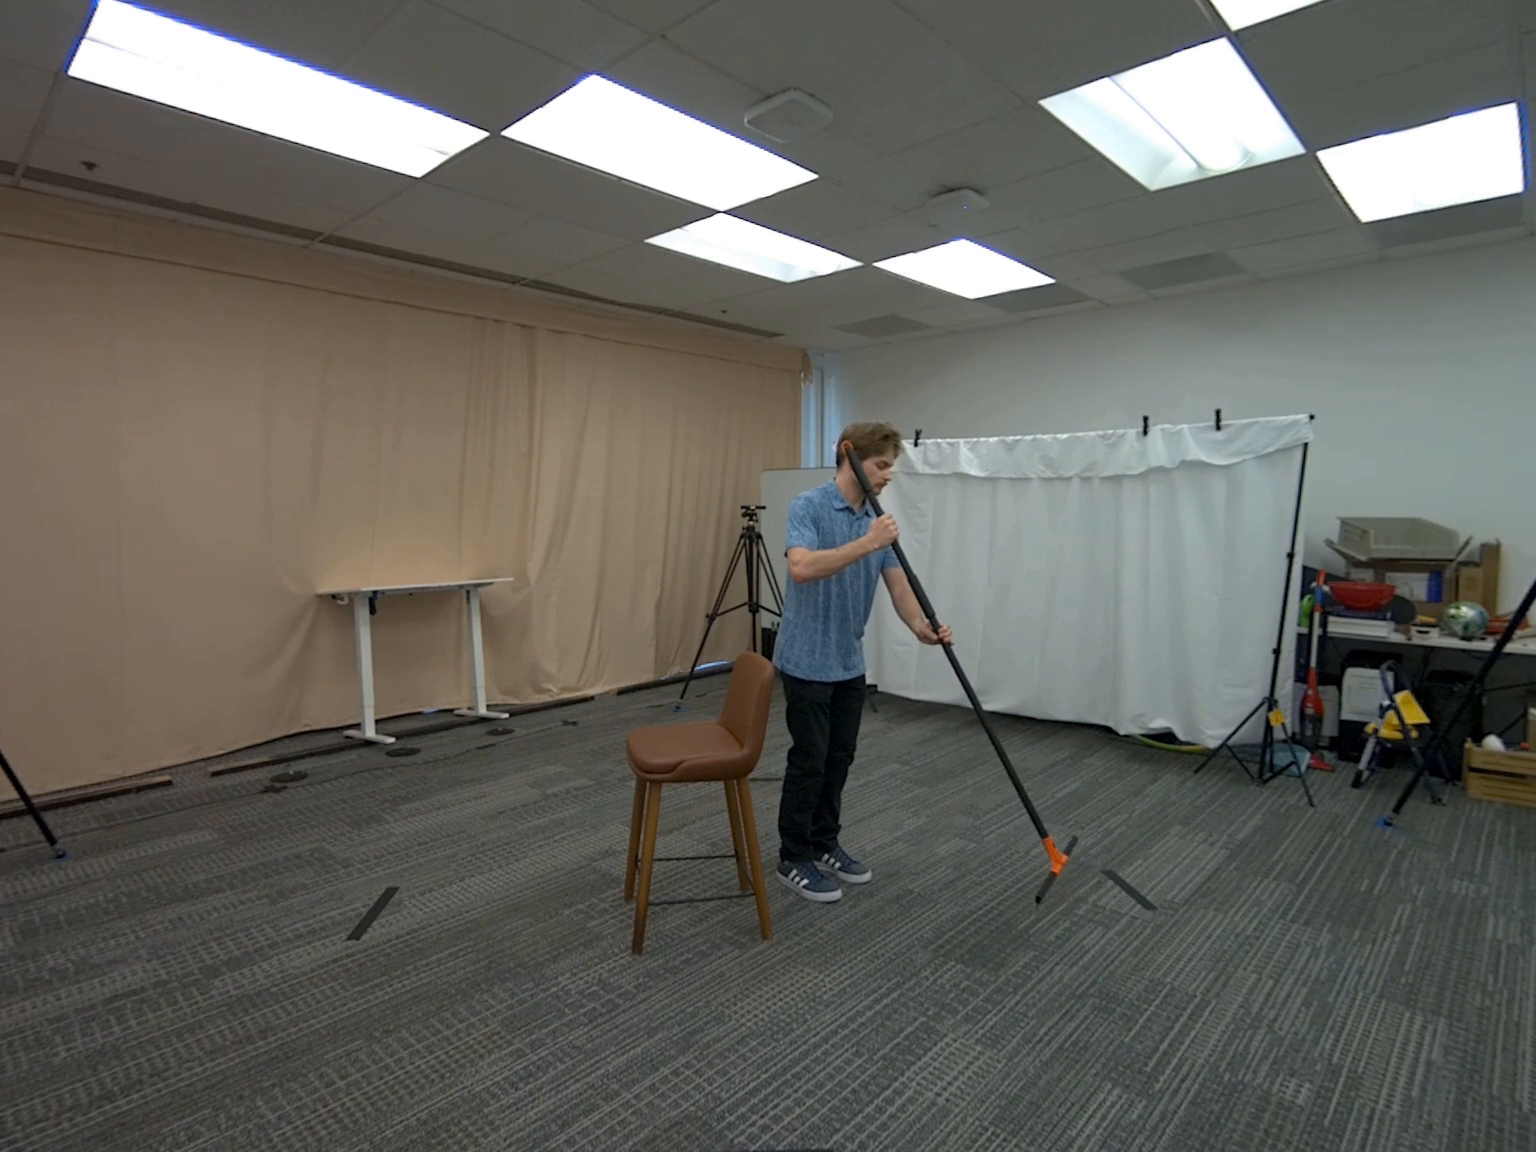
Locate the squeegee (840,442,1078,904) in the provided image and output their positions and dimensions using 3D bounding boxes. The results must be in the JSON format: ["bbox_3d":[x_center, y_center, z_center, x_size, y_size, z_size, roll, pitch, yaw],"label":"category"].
[{"bbox_3d":[0.630,0.257,2.748,0.054,1.552,0.426,-31,-11,34],"label":"squeegee"}]
